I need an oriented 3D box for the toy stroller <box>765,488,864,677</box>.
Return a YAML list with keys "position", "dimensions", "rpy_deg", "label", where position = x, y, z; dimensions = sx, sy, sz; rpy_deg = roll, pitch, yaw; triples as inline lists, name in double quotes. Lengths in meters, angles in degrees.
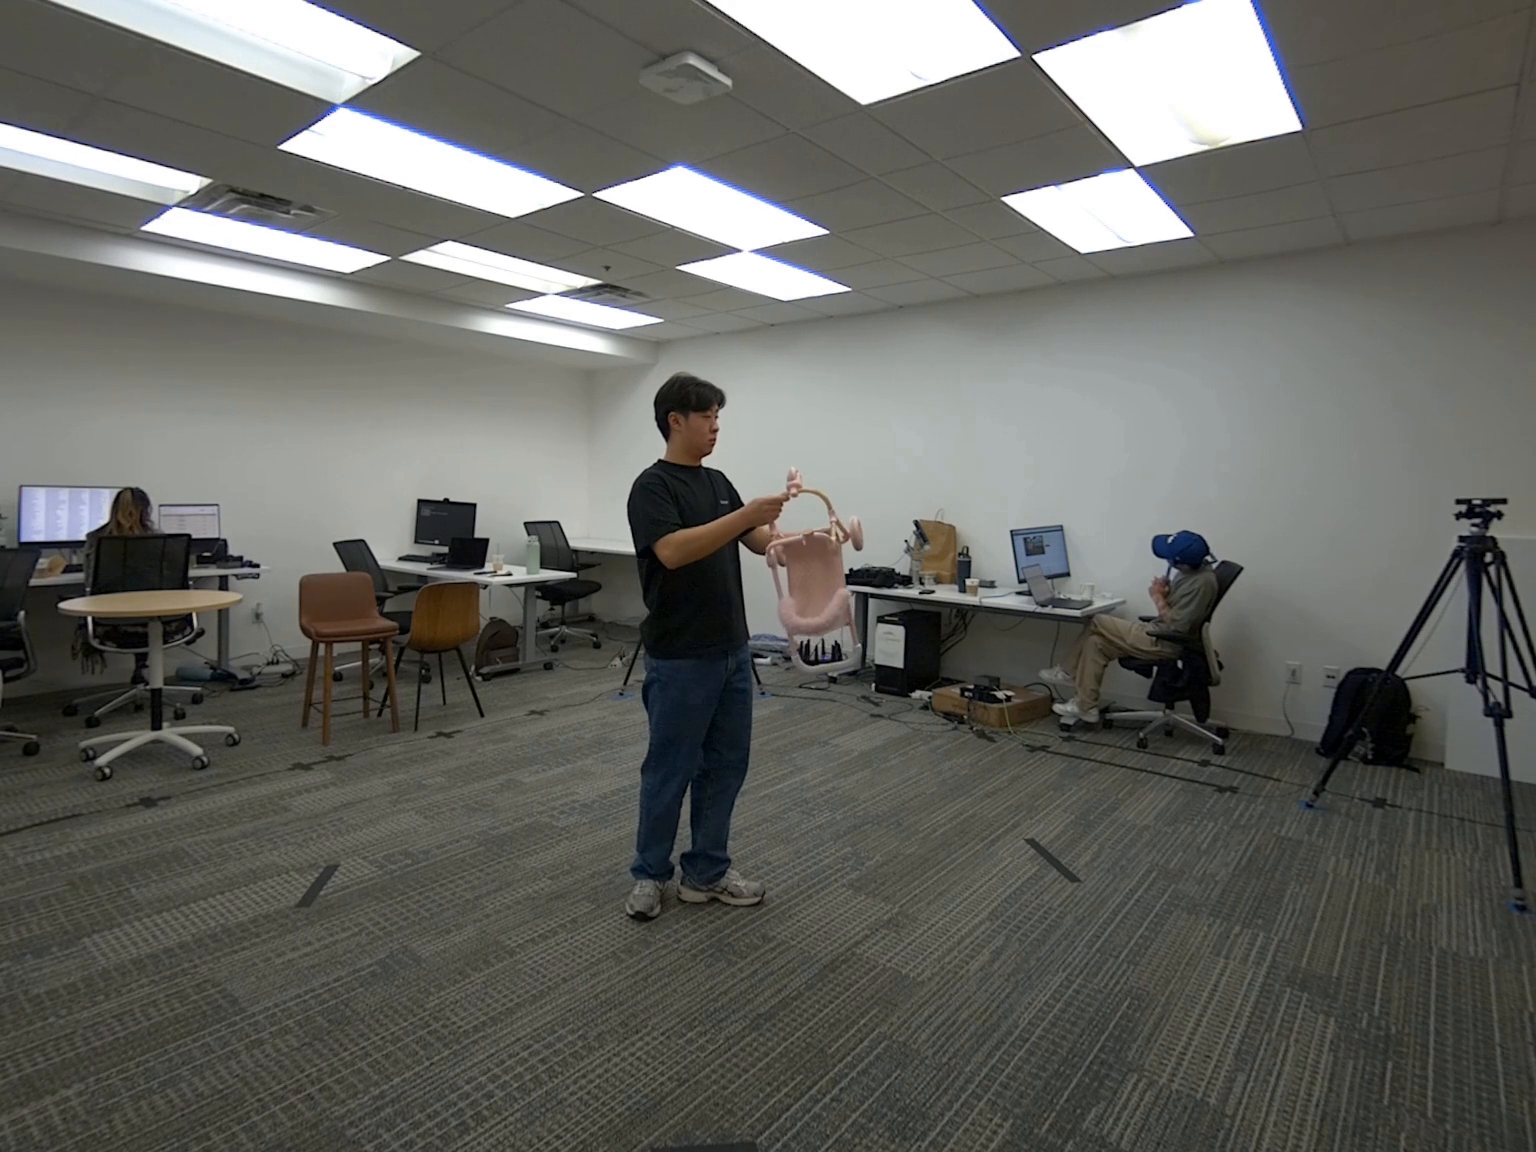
- position: [0.130, -0.027, 2.512]
  dimensions: [0.285, 0.549, 0.328]
  rpy_deg: [-9, -34, 14]
  label: "toy stroller"
